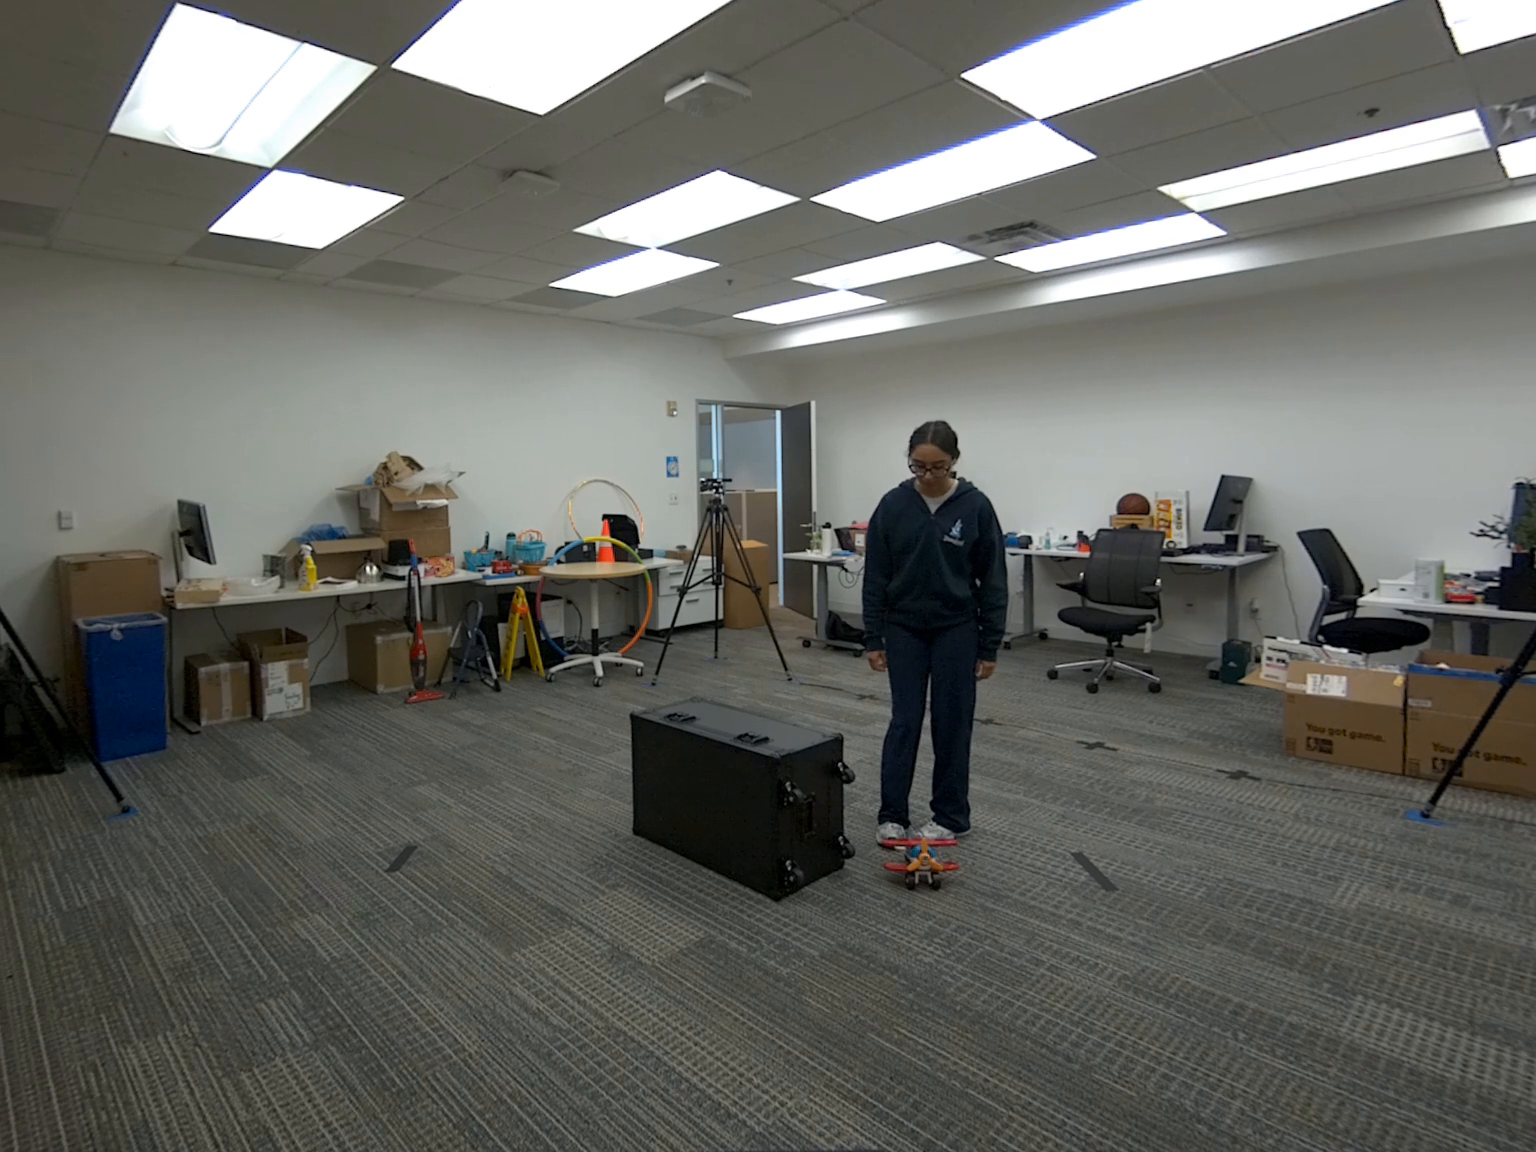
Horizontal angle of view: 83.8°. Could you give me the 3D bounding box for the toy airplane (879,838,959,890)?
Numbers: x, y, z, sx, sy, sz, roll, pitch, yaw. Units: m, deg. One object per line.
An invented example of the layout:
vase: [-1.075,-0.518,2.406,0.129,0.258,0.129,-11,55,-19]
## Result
toy airplane: [0.504,0.976,2.957,0.246,0.156,0.266,-5,7,-25]
